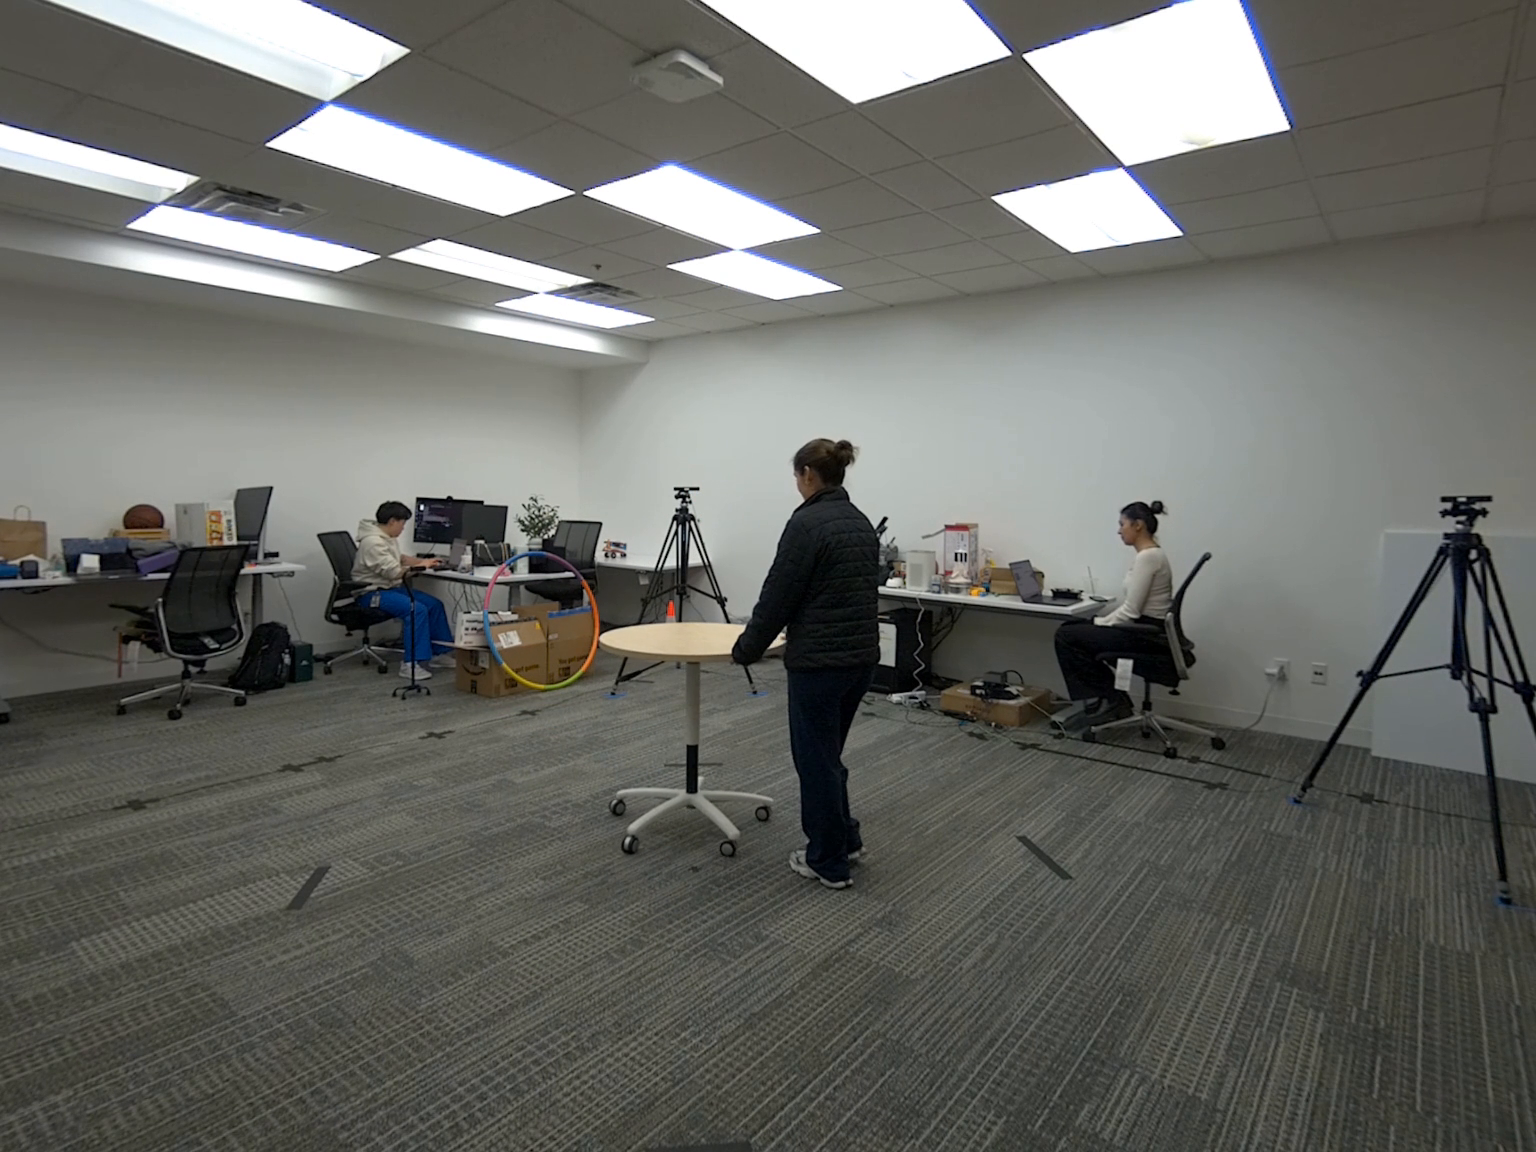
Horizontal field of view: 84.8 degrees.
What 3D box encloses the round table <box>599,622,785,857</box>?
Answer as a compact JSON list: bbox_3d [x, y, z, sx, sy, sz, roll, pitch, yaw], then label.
[{"bbox_3d":[-0.294,0.634,3.484,0.784,0.784,0.789,0,4,-2],"label":"round table"}]
